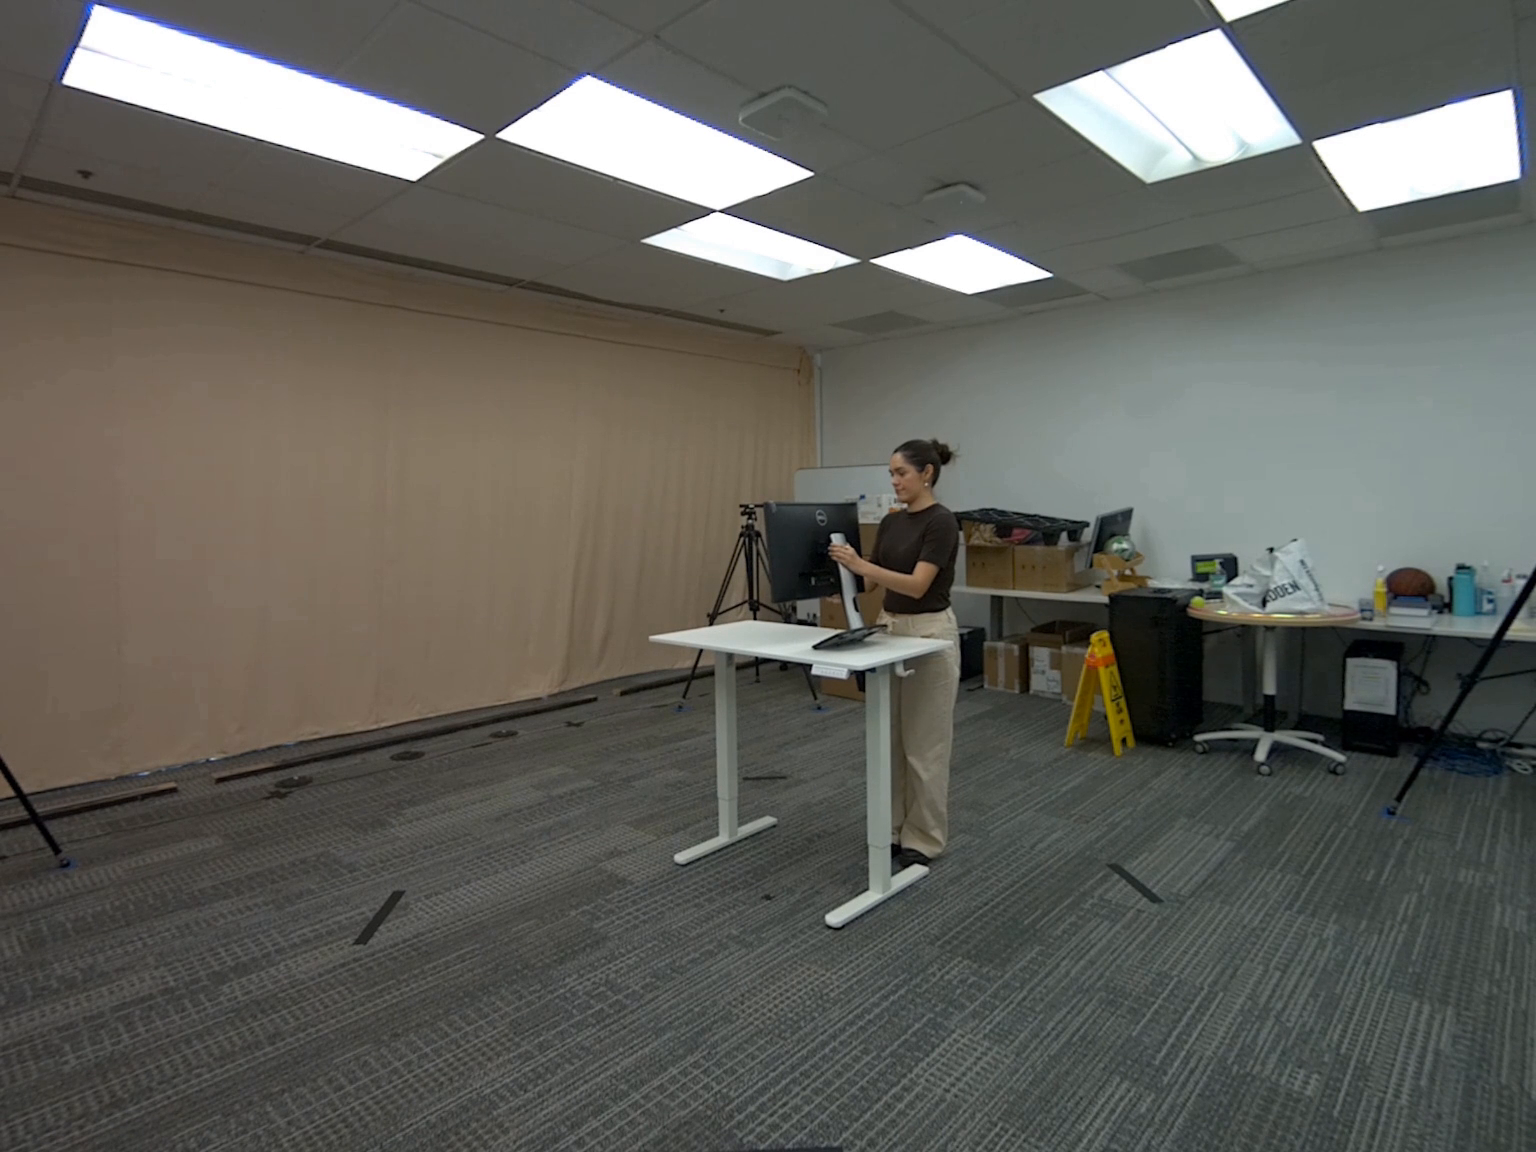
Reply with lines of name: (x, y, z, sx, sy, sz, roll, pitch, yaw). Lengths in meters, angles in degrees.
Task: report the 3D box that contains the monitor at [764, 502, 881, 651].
monitor: (0.228, -0.018, 3.030, 0.522, 0.528, 0.191, -4, -16, -47)
